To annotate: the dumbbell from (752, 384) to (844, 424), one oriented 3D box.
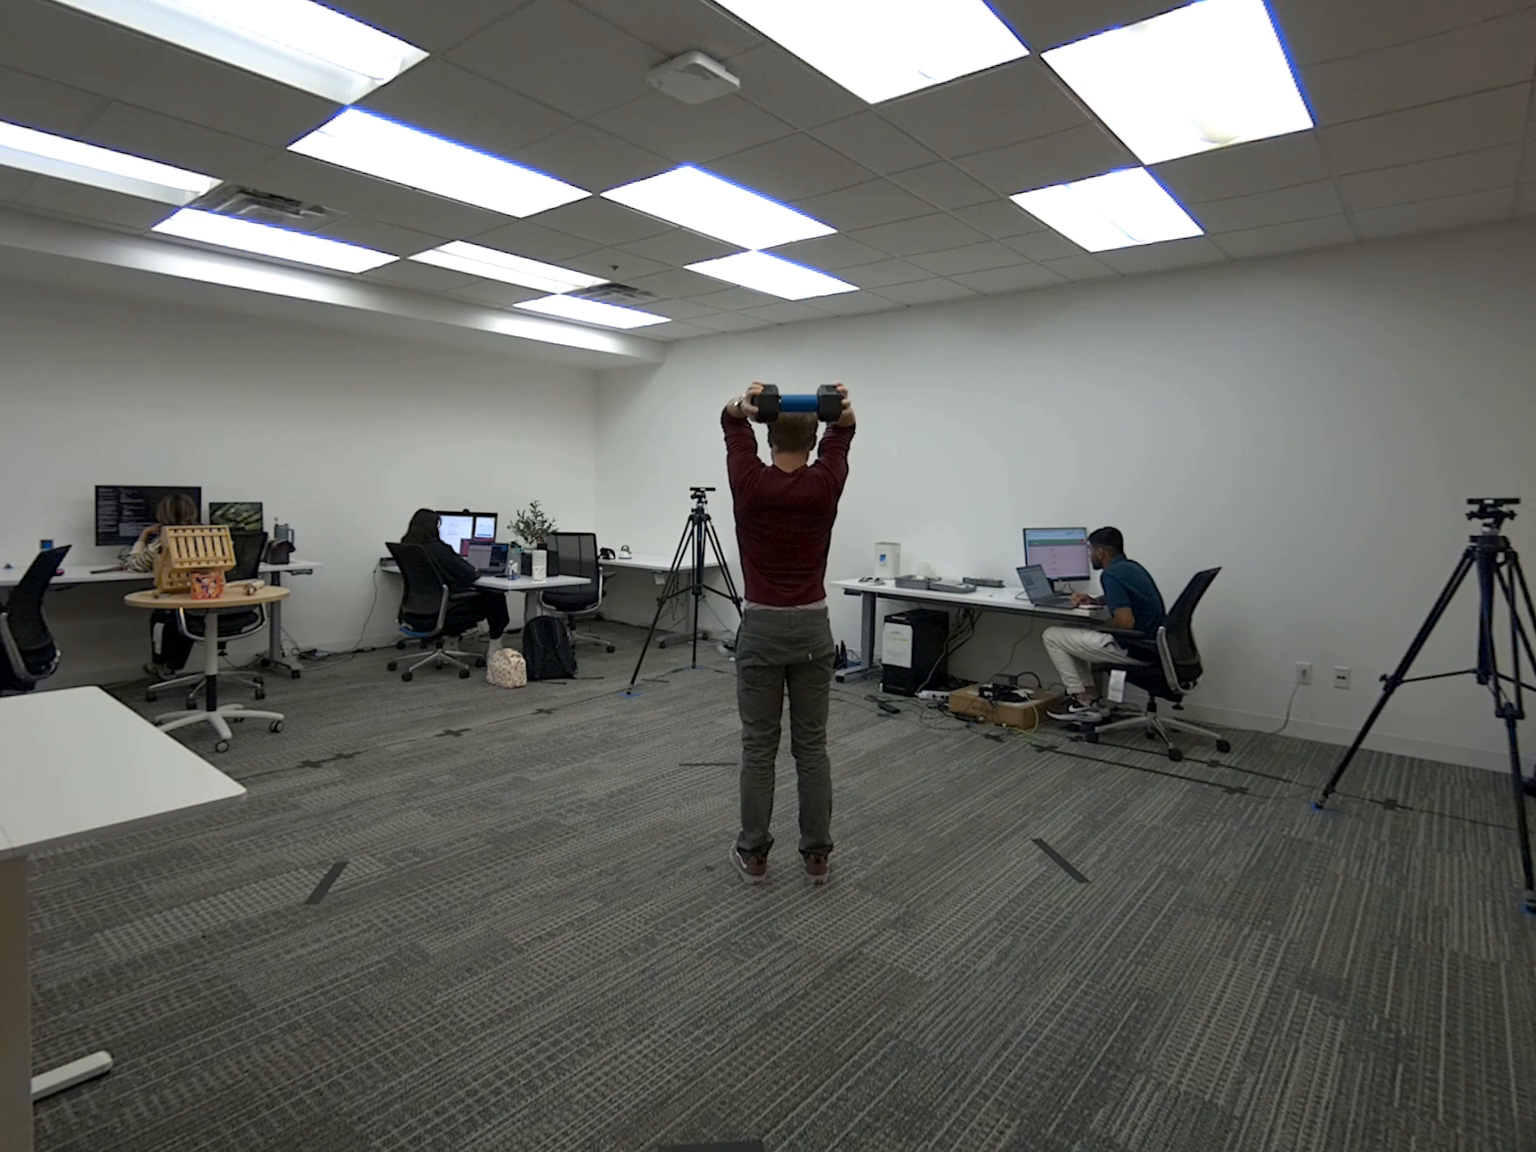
[{"bbox_3d":[0.092,-0.592,2.832,0.295,0.122,0.109,0,8,4],"label":"dumbbell"}]
